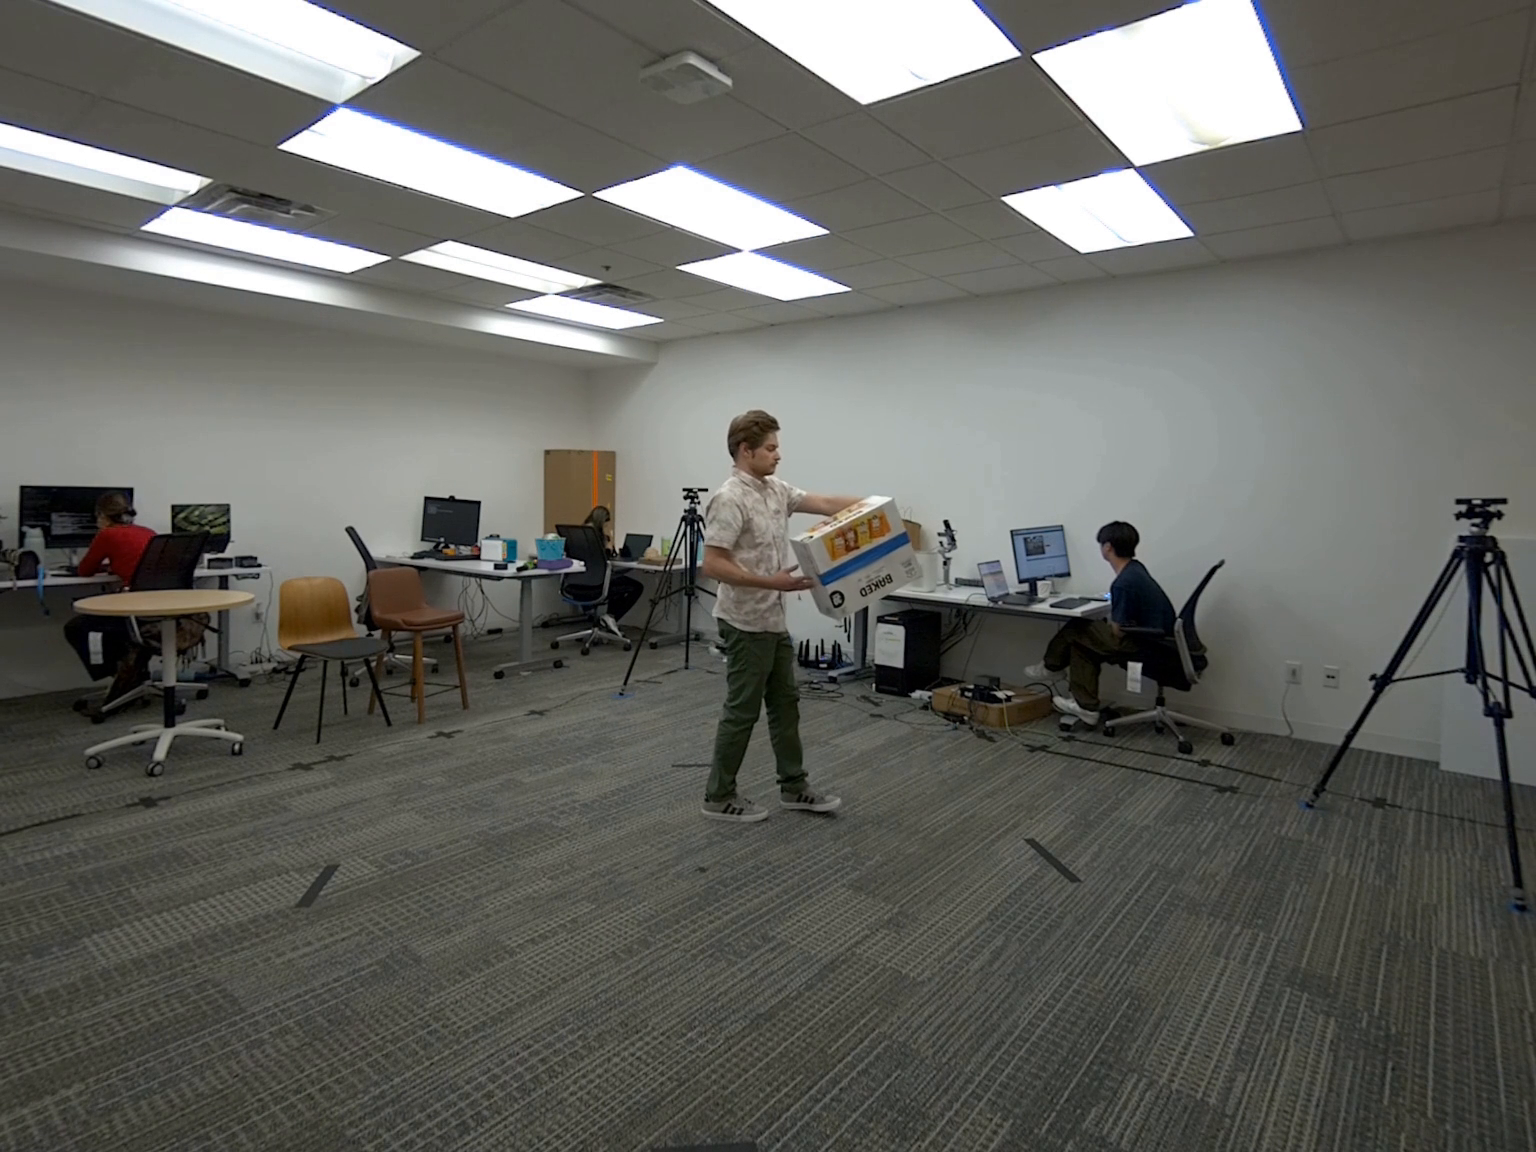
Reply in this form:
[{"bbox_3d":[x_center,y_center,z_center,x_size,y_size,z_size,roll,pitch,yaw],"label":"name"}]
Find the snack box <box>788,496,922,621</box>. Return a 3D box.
[{"bbox_3d":[0.340,-0.080,3.393,0.402,0.335,0.210,-26,12,-12],"label":"snack box"}]
